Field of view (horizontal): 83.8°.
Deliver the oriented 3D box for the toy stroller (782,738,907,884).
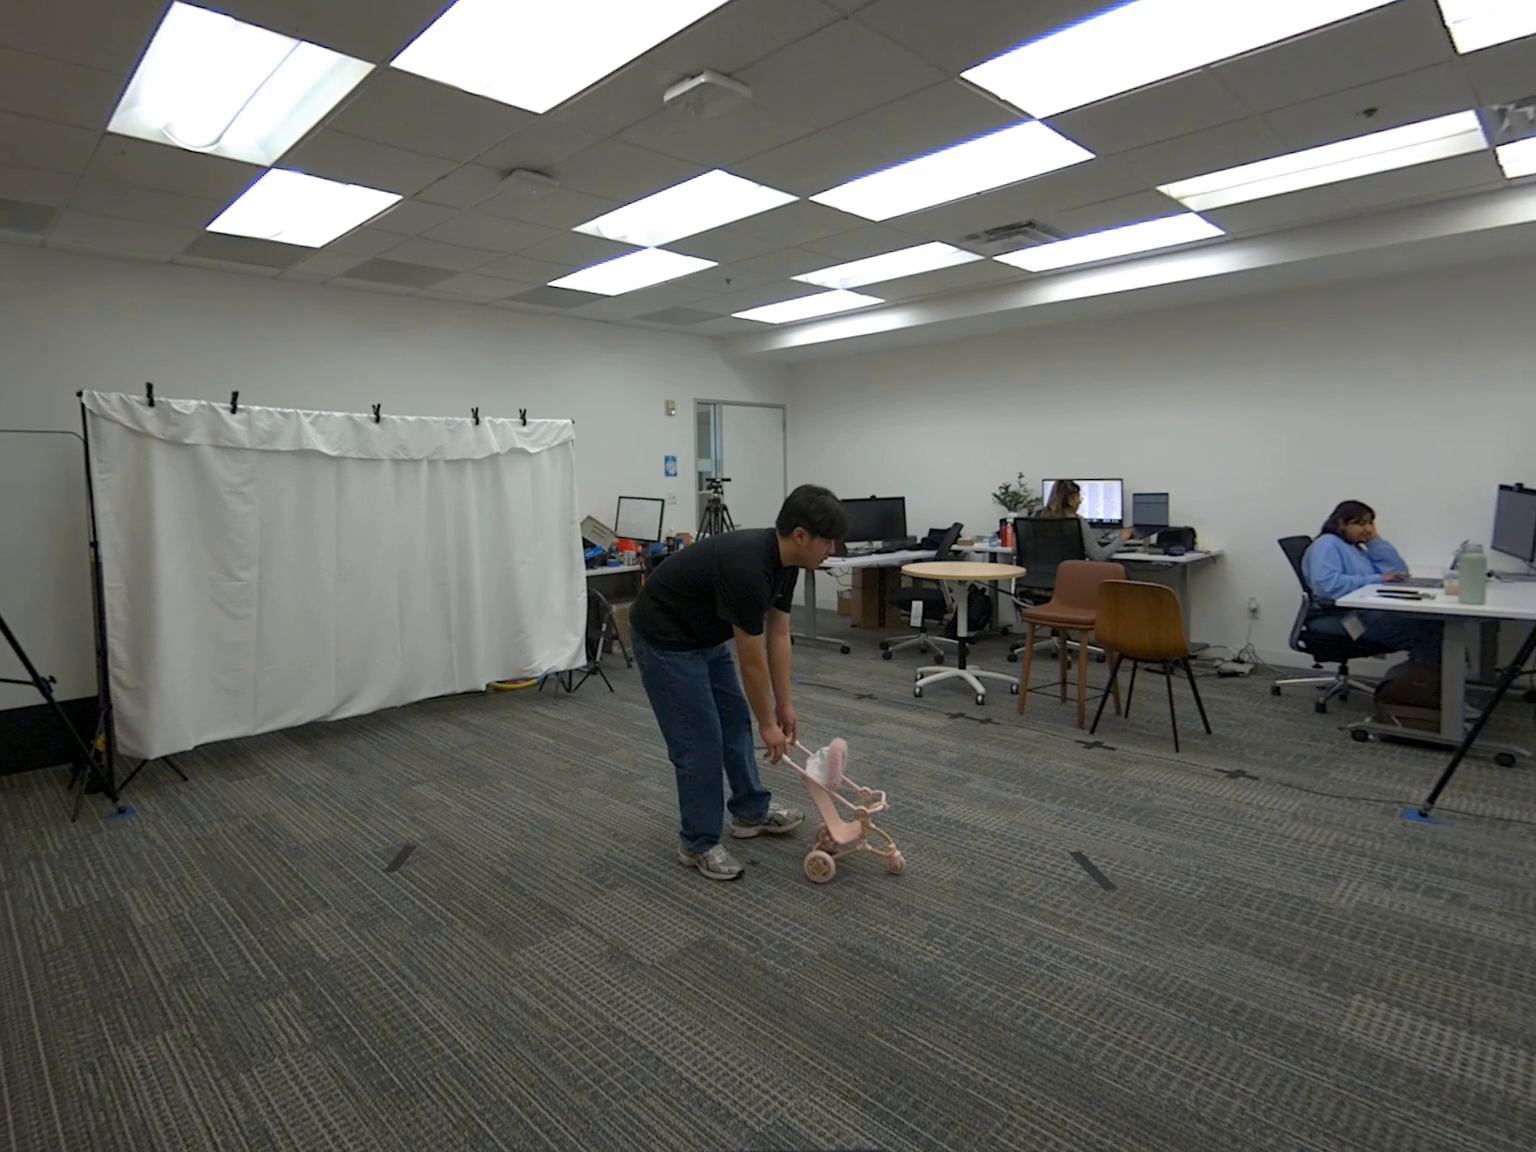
[{"bbox_3d":[0.263,0.819,3.036,0.346,0.535,0.278,-15,0,18],"label":"toy stroller"}]
